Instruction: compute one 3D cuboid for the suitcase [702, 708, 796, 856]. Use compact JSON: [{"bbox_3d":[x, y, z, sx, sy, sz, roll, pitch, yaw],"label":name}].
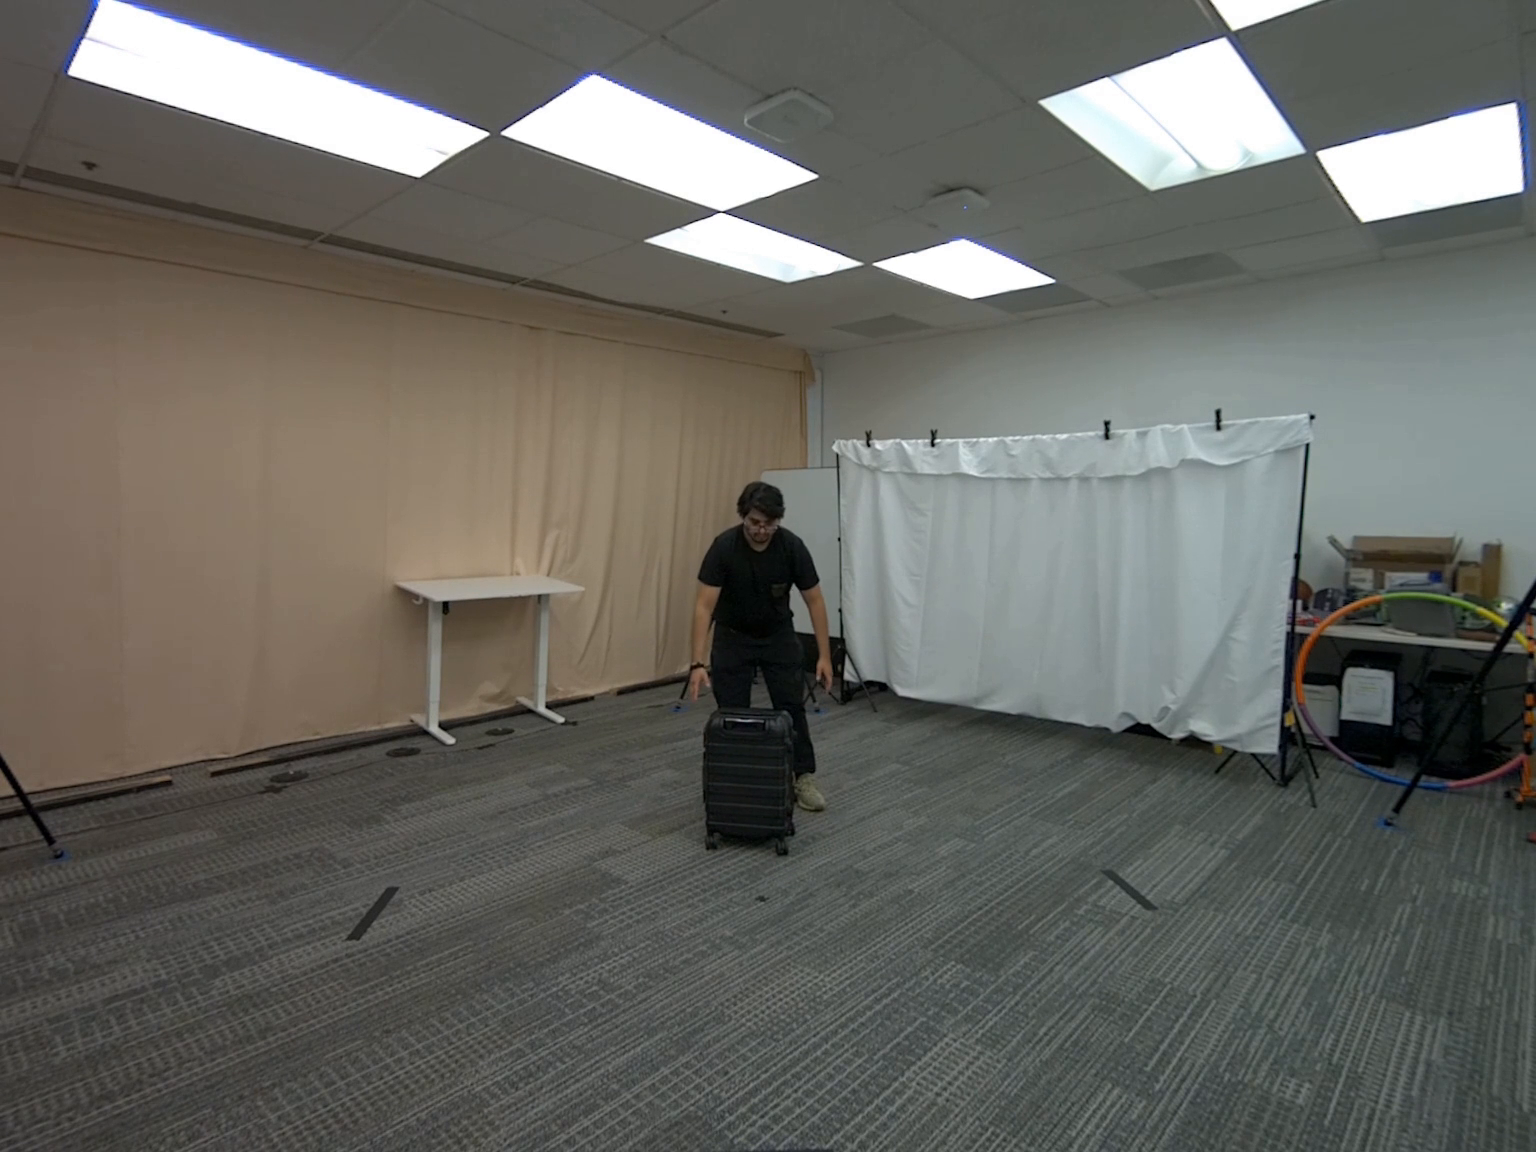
[{"bbox_3d":[-0.078,0.819,3.504,0.380,0.549,0.245,0,1,11],"label":"suitcase"}]
